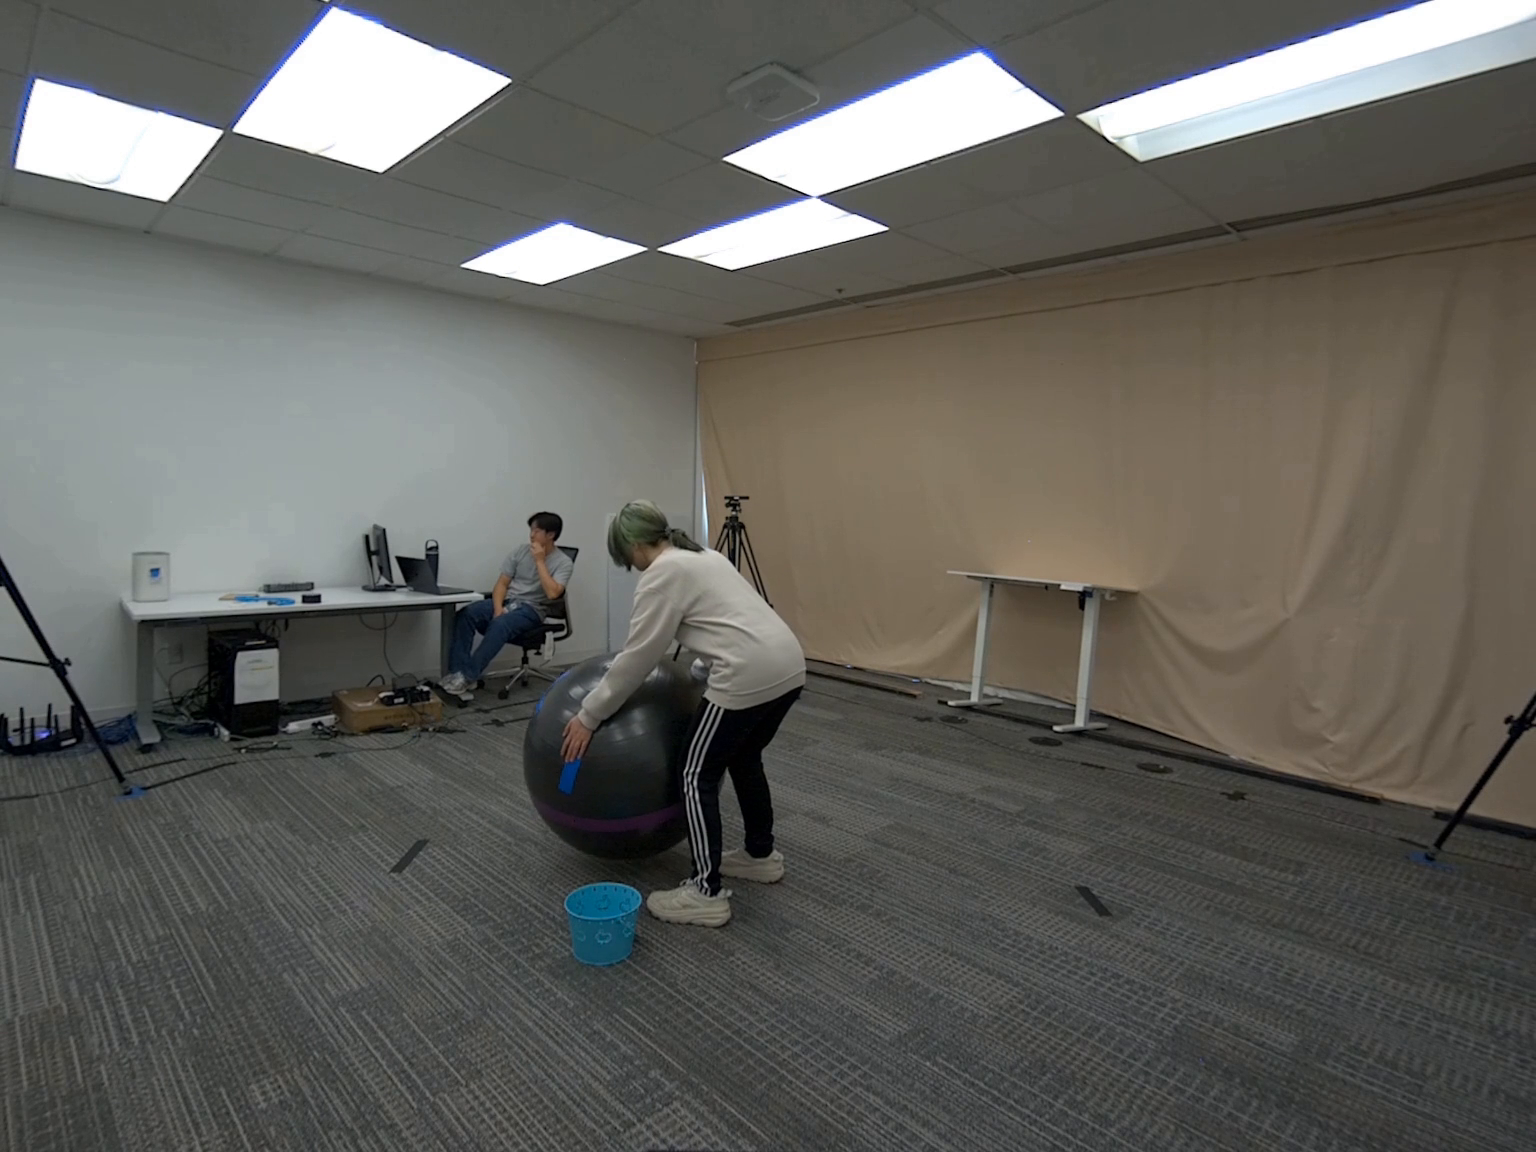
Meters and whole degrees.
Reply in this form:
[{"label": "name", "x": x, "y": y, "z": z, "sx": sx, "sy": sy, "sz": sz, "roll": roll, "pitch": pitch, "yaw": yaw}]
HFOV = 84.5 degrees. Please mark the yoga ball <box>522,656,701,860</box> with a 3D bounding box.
[{"label": "yoga ball", "x": -0.537, "y": 0.657, "z": 3.152, "sx": 0.757, "sy": 0.756, "sz": 0.761, "roll": 1, "pitch": 4, "yaw": -1}]
